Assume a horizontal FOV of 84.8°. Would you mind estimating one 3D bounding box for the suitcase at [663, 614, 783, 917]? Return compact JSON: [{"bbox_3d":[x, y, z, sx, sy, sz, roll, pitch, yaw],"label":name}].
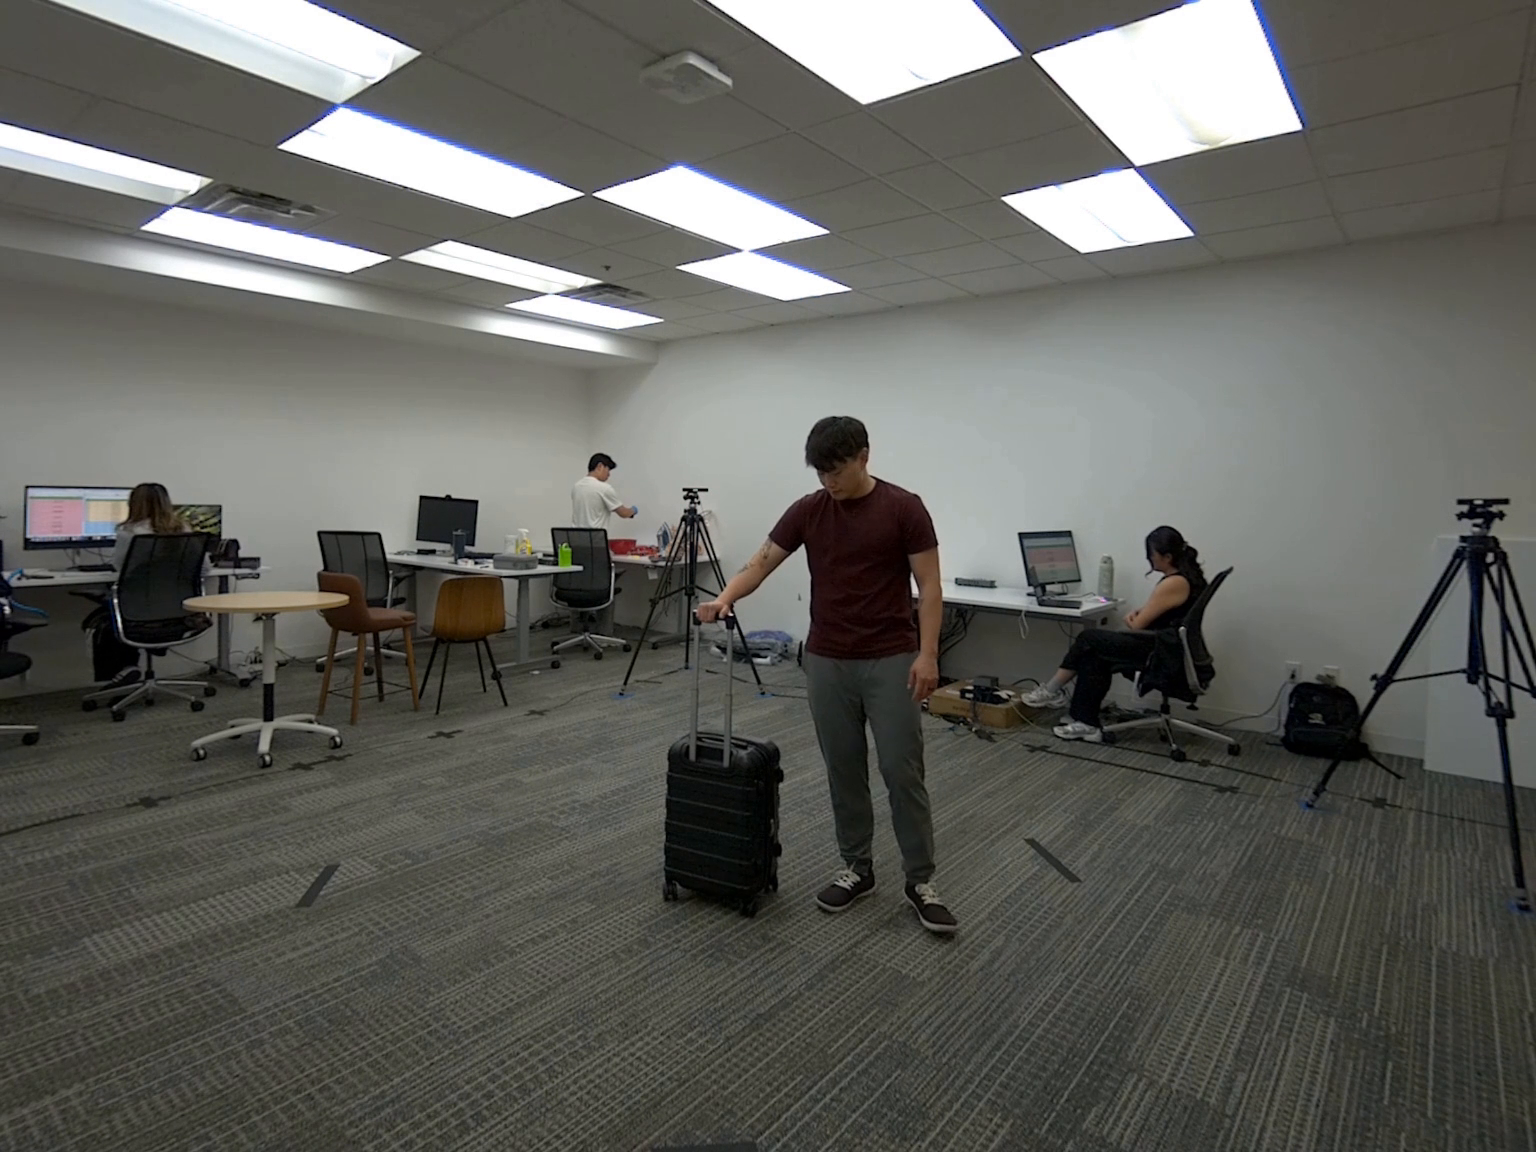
[{"bbox_3d":[-0.164,0.612,2.913,0.394,0.978,0.250,1,0,27],"label":"suitcase"}]
